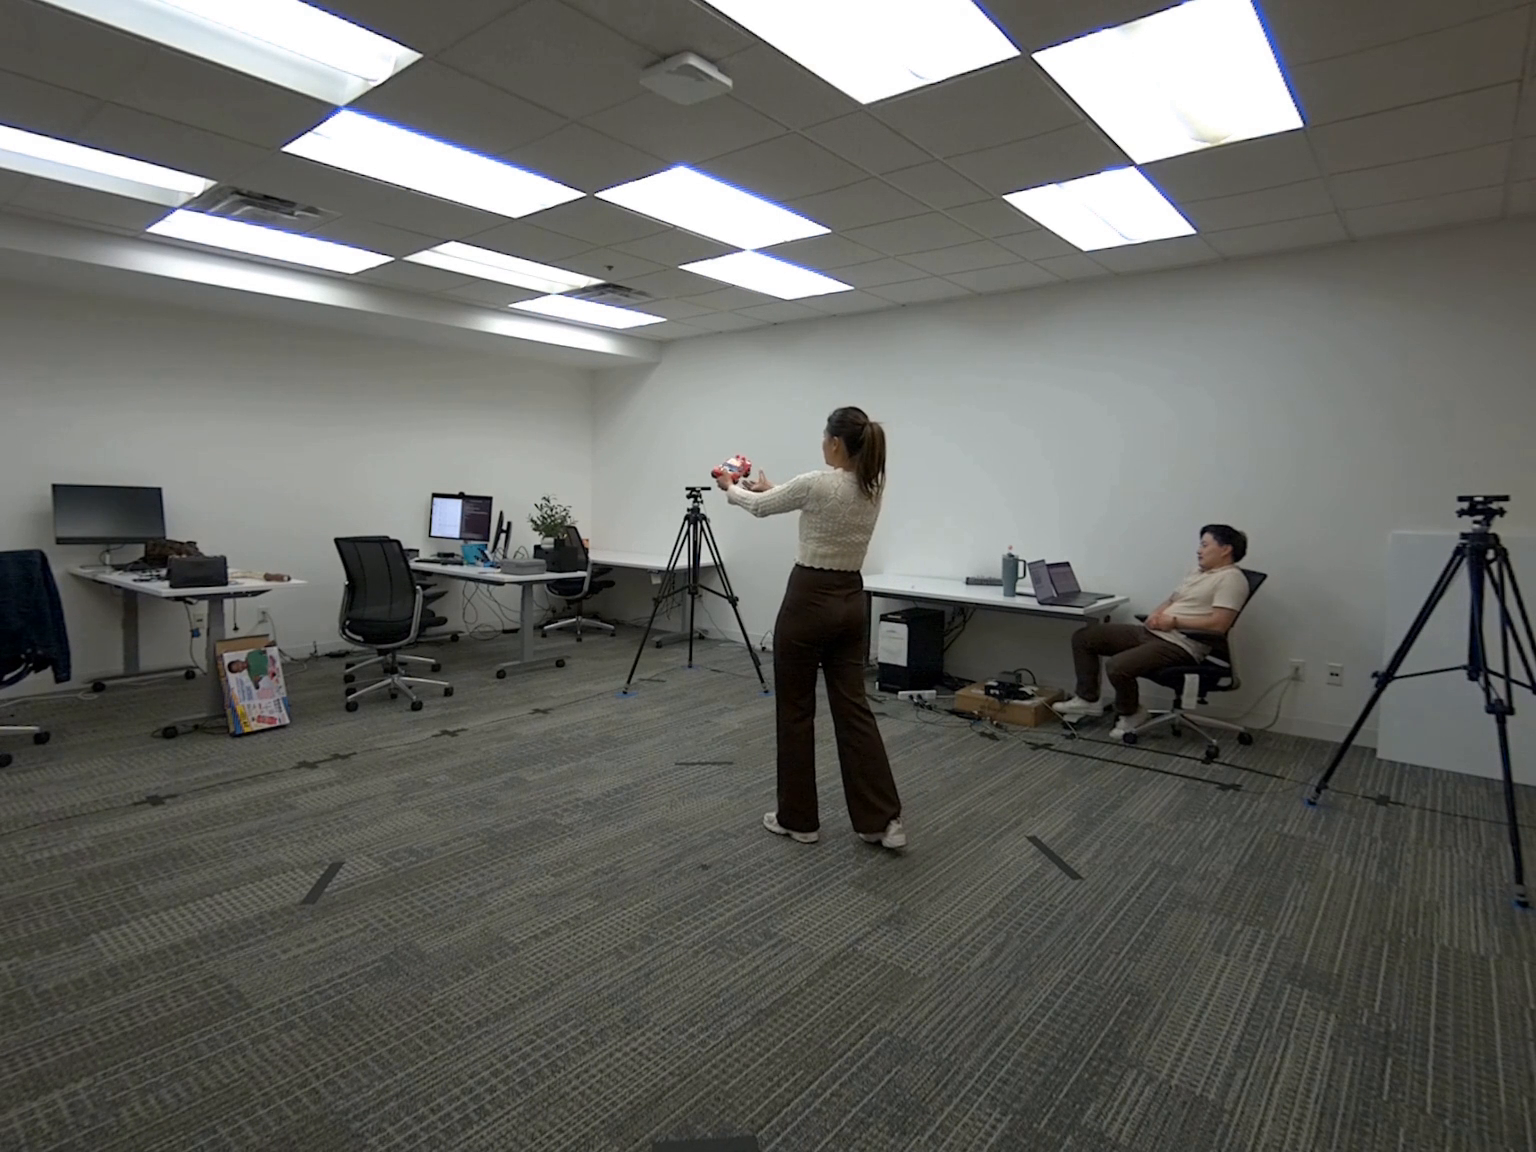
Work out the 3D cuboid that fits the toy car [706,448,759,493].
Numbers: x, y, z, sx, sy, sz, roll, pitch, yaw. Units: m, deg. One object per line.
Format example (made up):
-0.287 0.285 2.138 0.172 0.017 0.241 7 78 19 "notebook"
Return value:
-0.159 -0.475 3.800 0.133 0.081 0.255 21 36 14 "toy car"
